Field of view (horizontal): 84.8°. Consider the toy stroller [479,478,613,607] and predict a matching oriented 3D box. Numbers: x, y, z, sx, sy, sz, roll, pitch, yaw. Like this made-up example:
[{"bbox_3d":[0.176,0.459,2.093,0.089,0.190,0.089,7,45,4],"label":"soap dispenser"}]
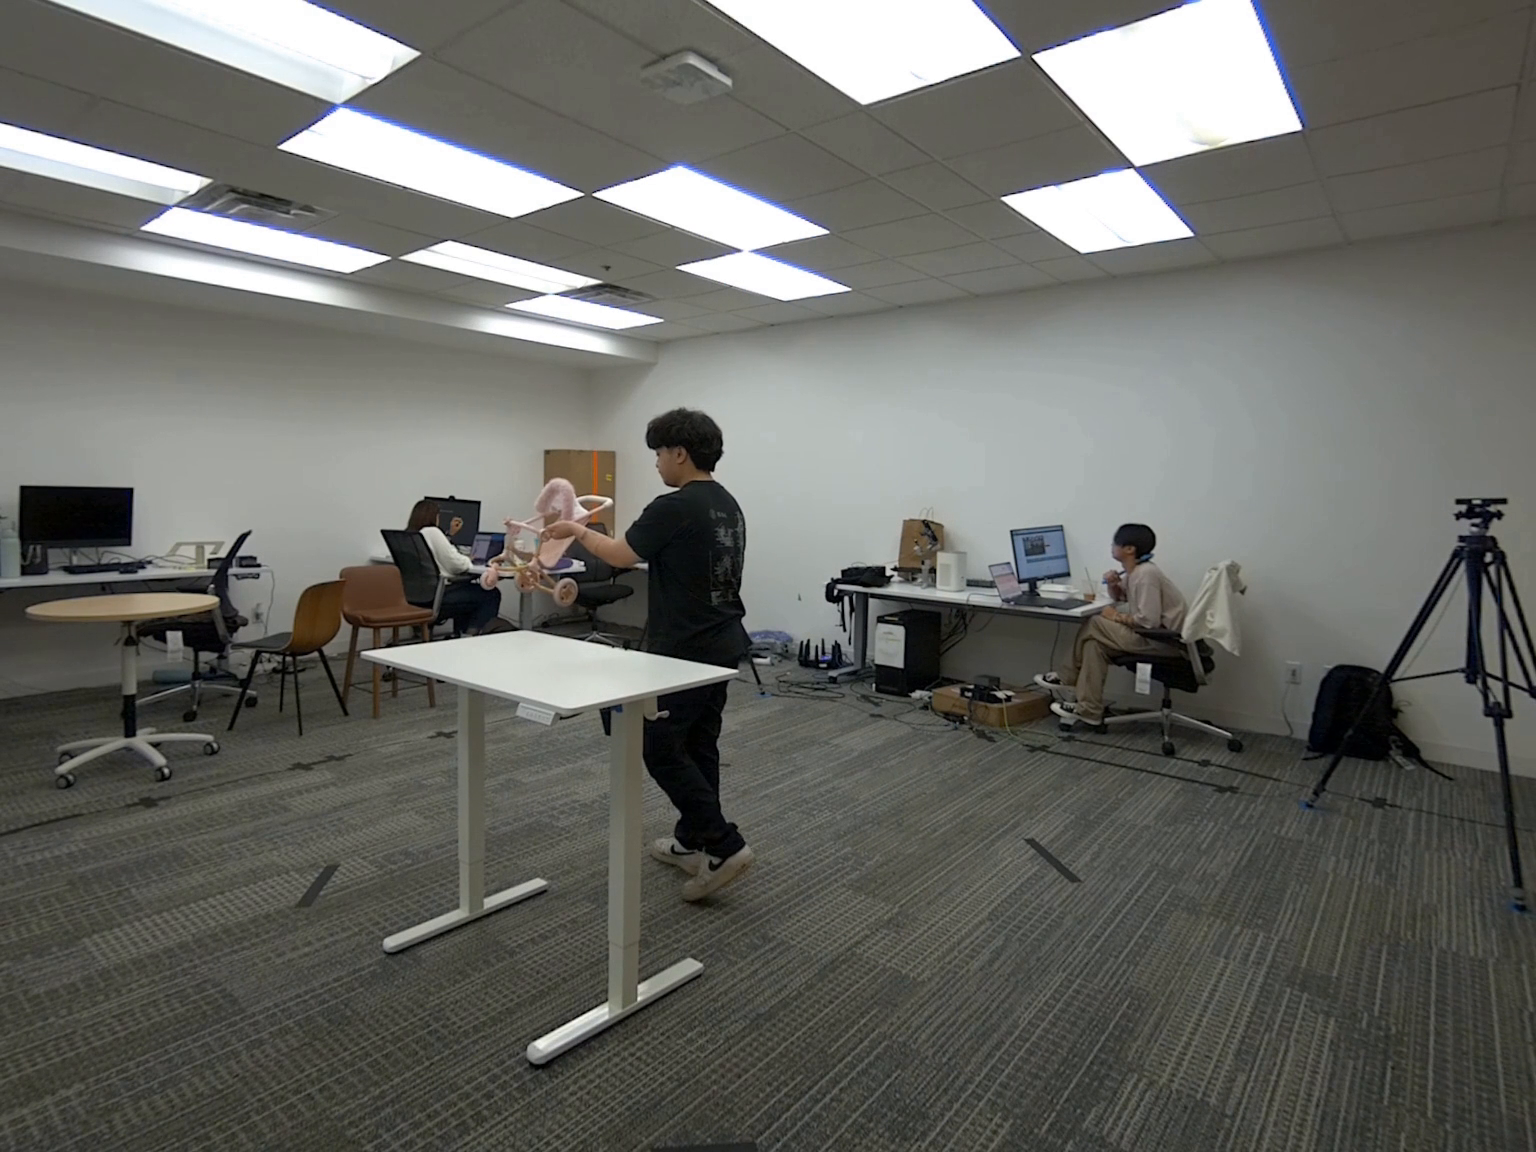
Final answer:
[{"bbox_3d":[-0.875,-0.145,3.243,0.292,0.538,0.327,12,-17,44],"label":"toy stroller"}]
